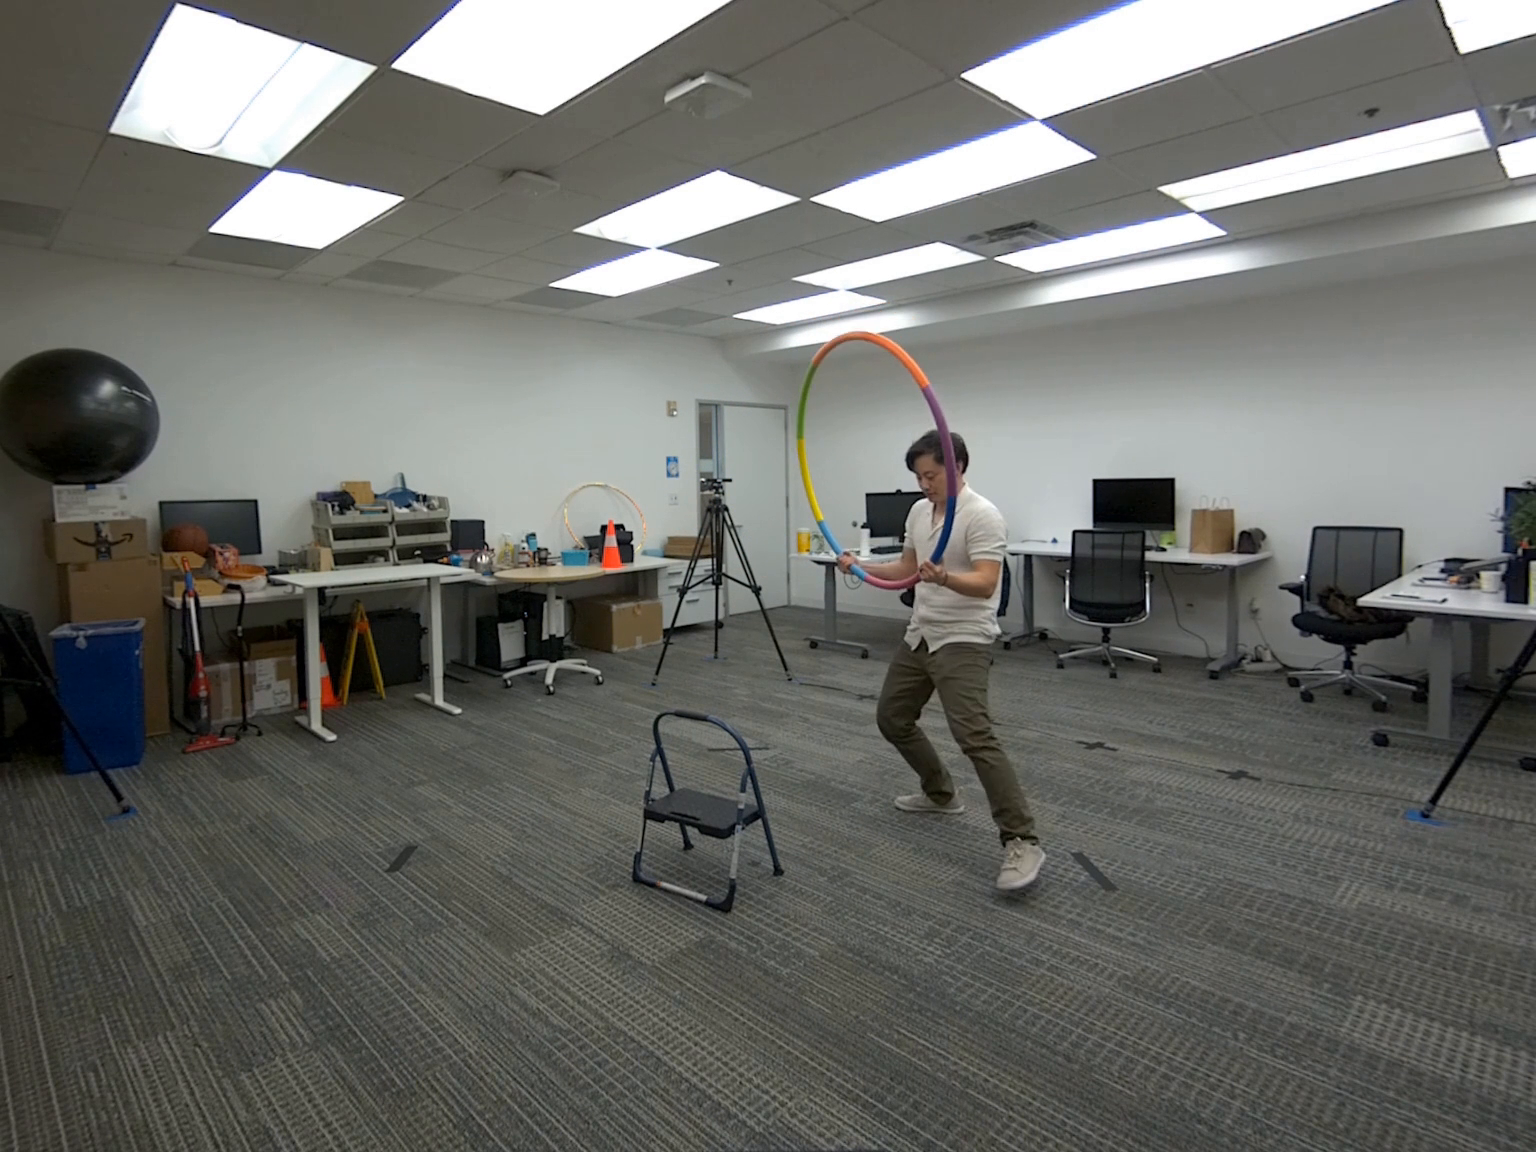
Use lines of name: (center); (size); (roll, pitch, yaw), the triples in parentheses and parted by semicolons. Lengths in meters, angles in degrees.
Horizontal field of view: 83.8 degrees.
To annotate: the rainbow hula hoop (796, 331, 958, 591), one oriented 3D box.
rainbow hula hoop: (0.376, -0.437, 3.226); (0.035, 0.970, 1.004); (-13, 10, -25)
